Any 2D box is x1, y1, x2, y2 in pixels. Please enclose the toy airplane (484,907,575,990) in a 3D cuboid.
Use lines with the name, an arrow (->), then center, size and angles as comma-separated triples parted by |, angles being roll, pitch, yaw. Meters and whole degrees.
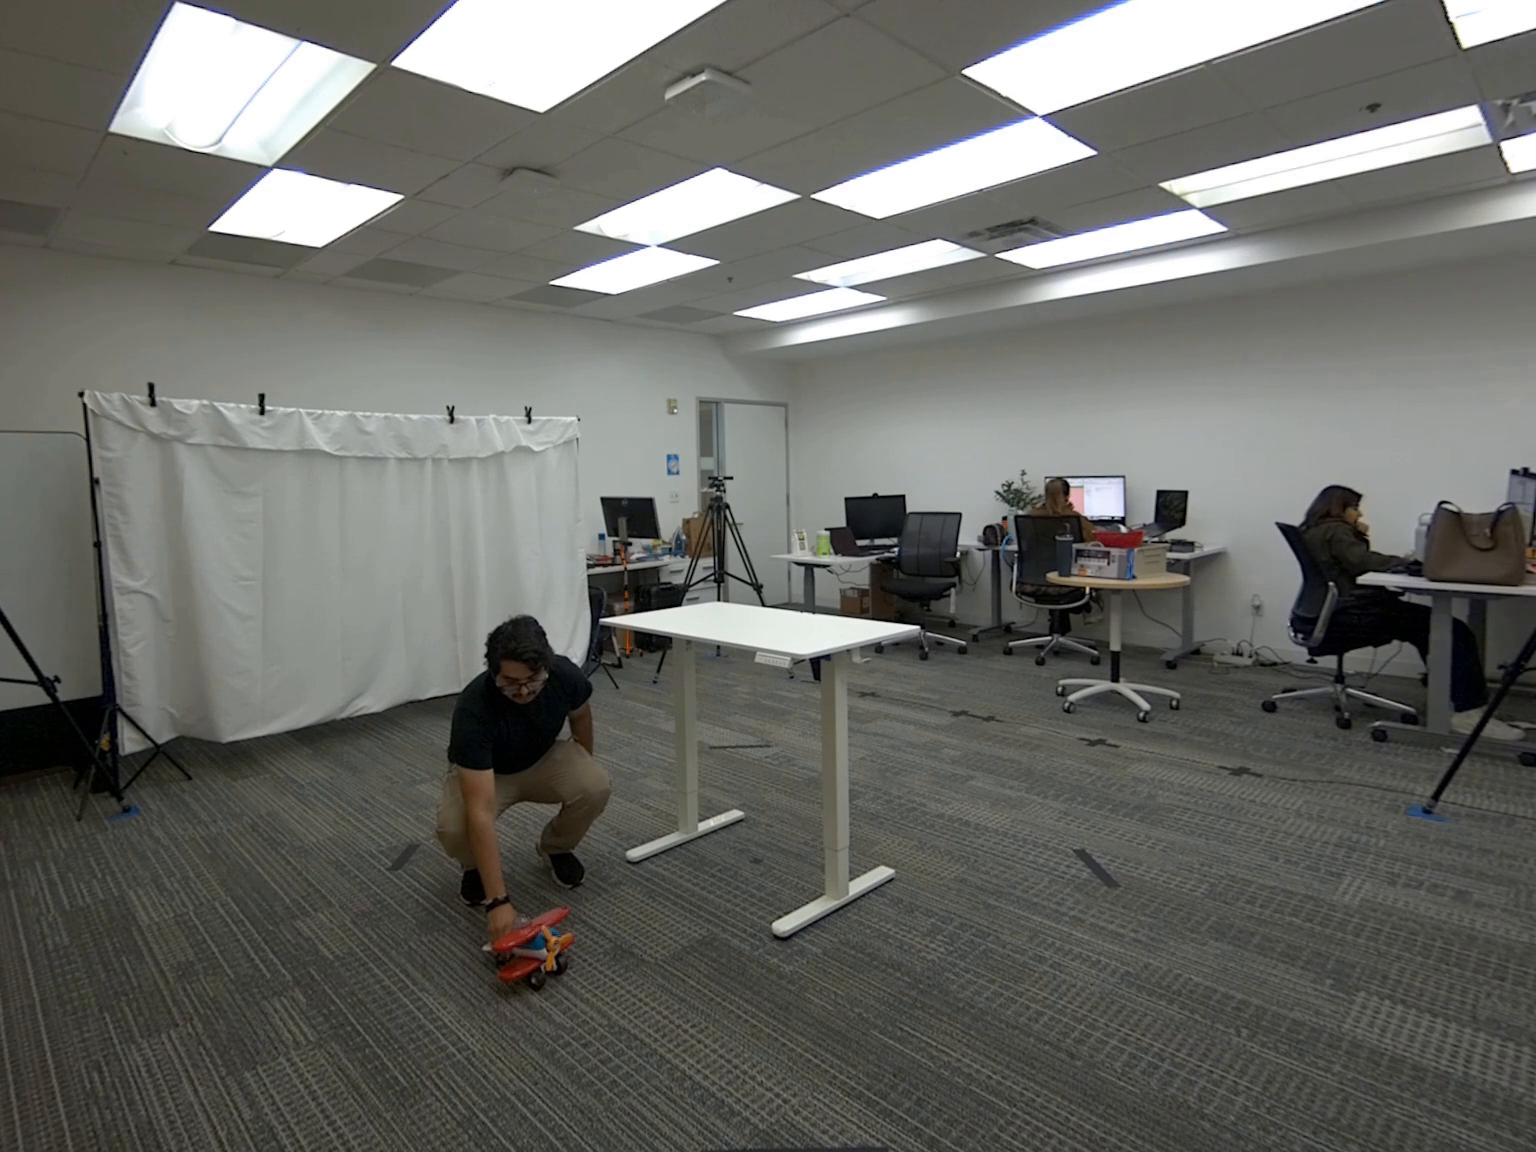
toy airplane -> -0.701, 1.063, 2.423 | 0.261, 0.155, 0.251 | 1, 7, 6
